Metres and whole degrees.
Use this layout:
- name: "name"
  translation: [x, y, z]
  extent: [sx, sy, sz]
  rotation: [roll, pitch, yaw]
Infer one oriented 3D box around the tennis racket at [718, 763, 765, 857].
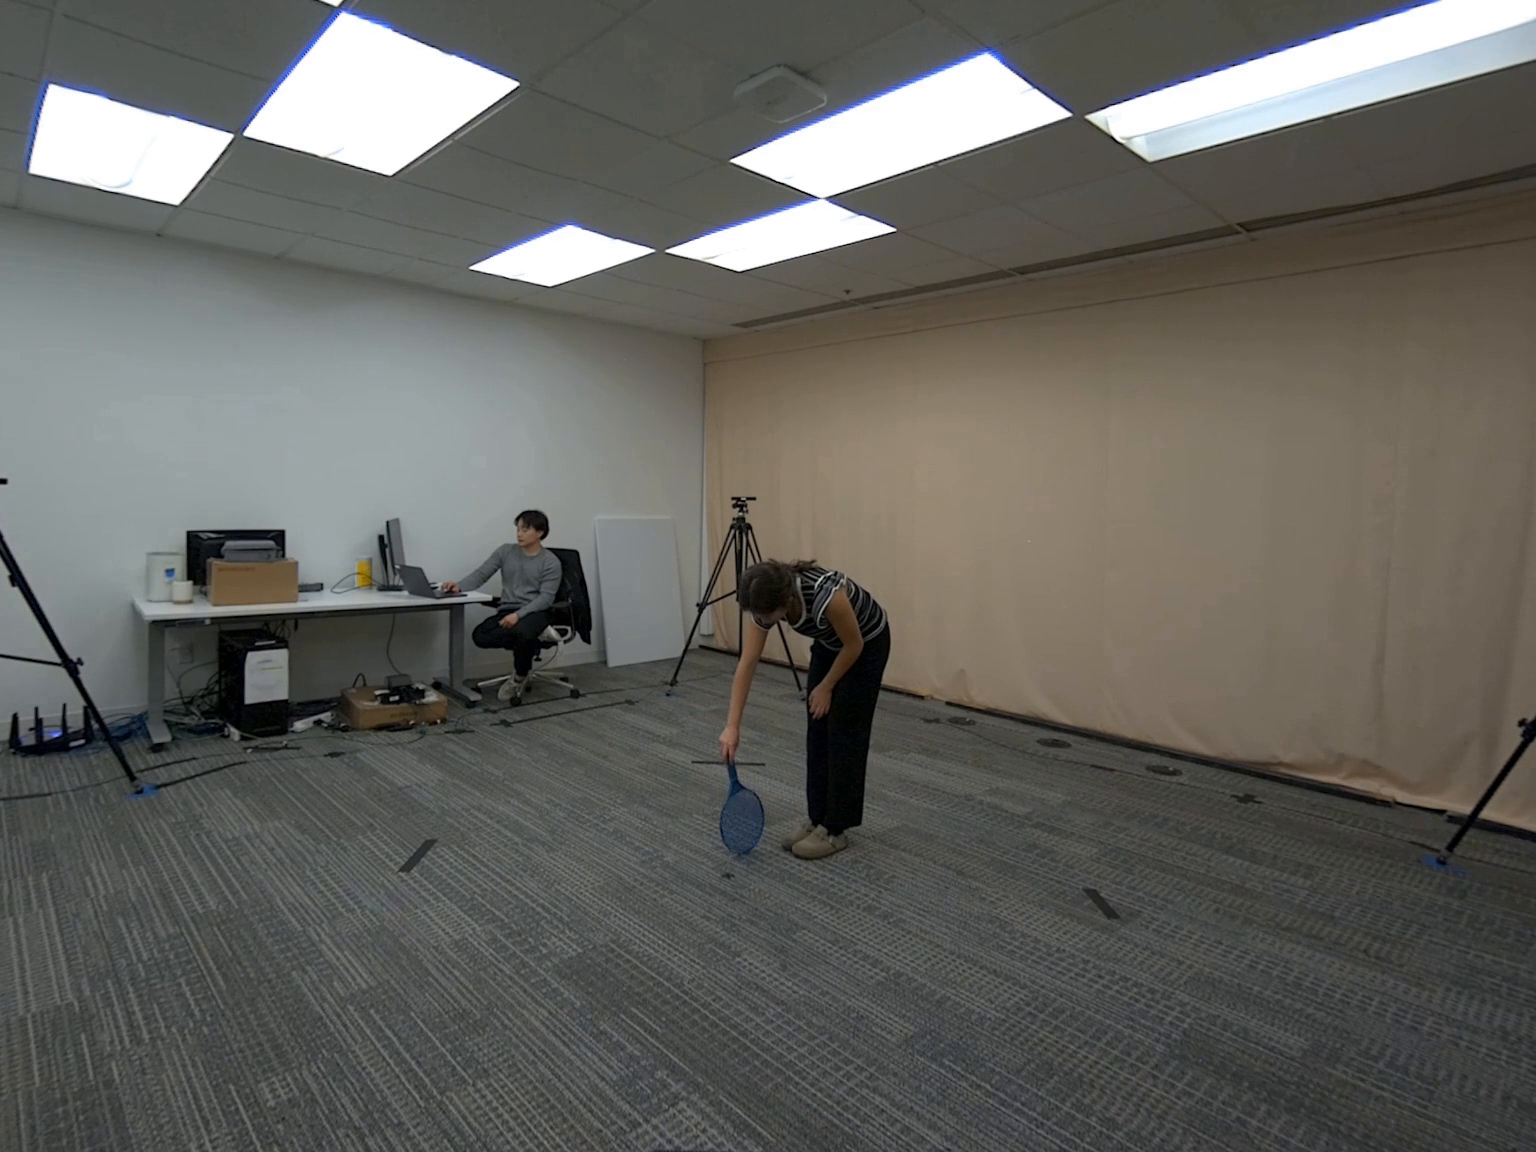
- name: "tennis racket"
  translation: [-0.124, 0.880, 3.273]
  extent: [0.211, 0.428, 0.032]
  rotation: [-21, 16, -34]
